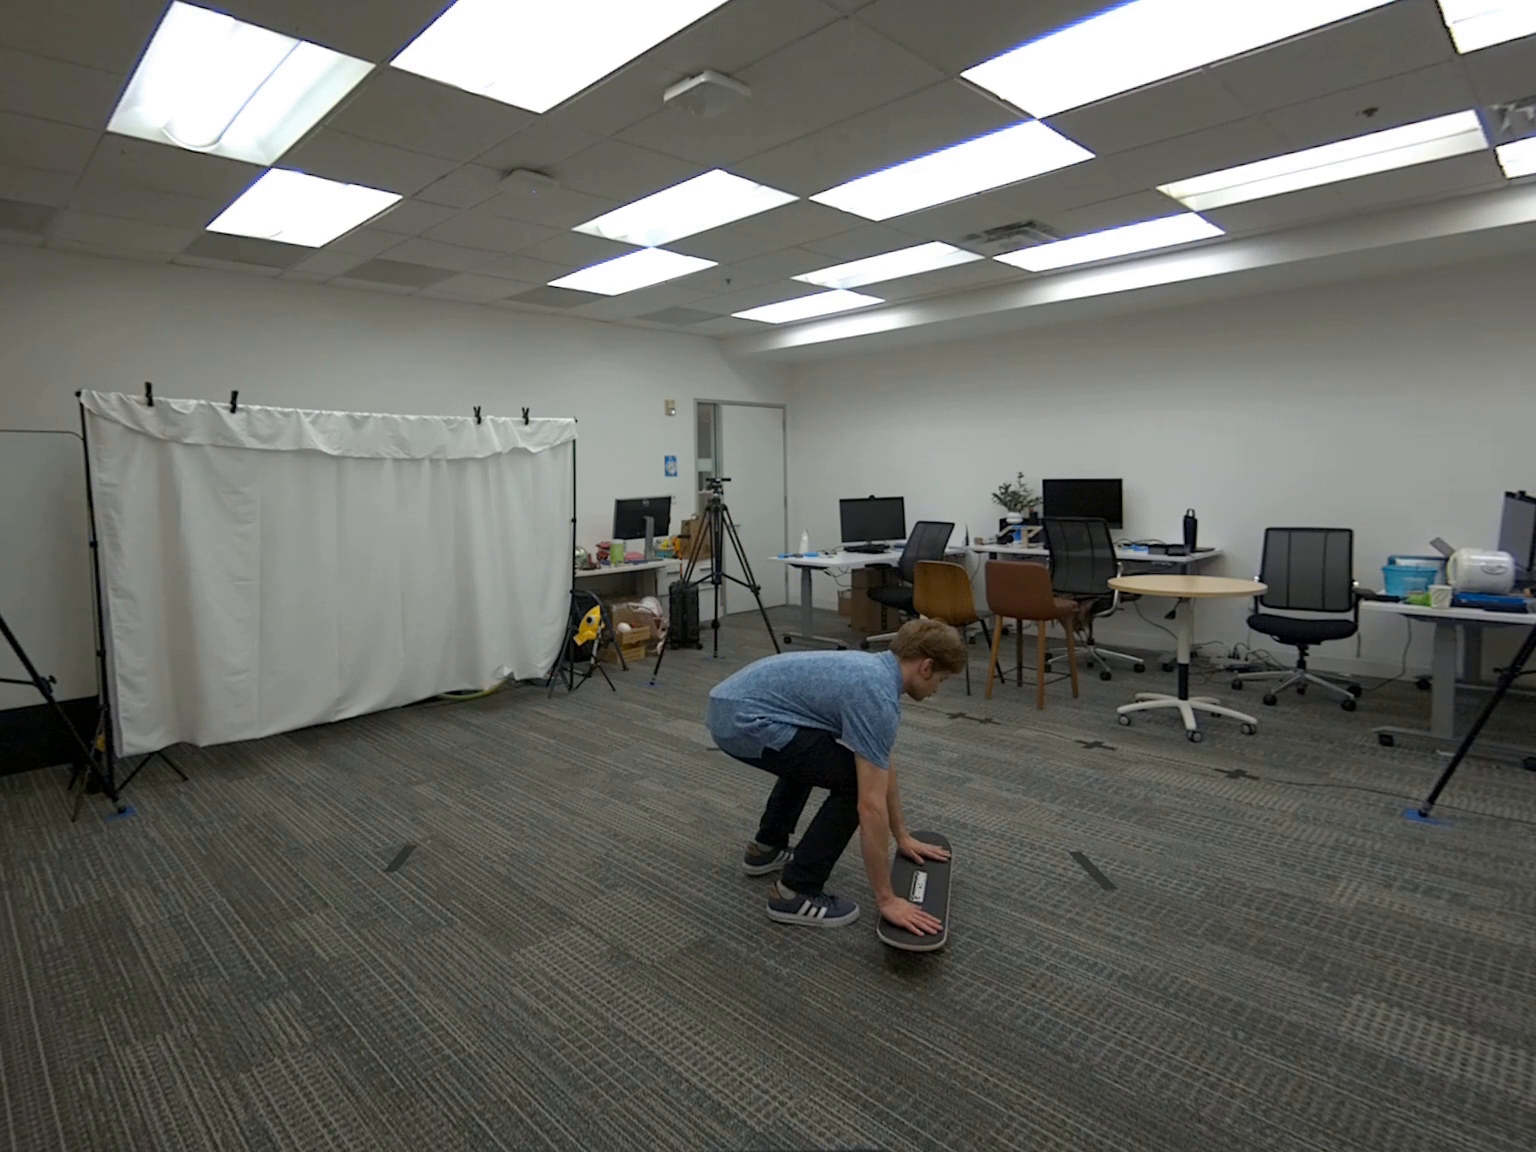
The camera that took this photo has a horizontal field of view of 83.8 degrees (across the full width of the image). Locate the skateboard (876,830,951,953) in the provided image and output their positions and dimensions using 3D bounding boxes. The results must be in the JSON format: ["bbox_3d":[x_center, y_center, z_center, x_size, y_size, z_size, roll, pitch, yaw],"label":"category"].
[{"bbox_3d":[0.482,1.017,2.723,0.196,0.110,0.777,2,7,15],"label":"skateboard"}]
